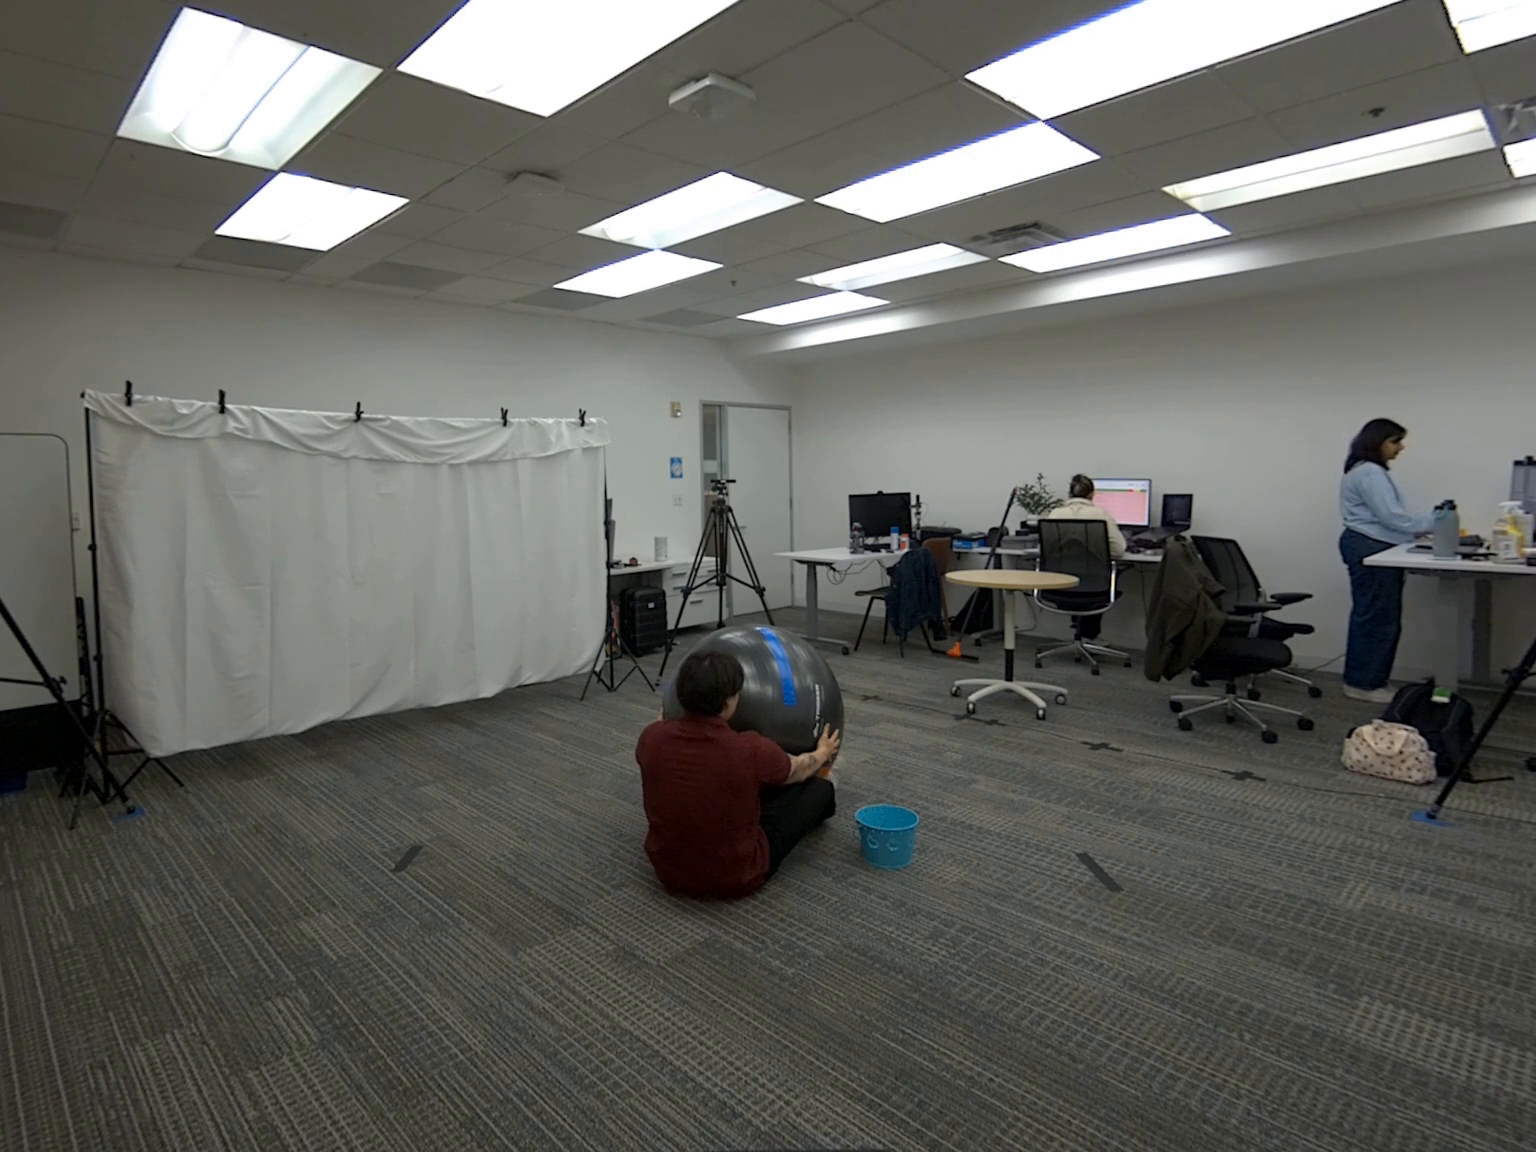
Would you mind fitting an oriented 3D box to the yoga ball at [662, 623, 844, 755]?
[{"bbox_3d":[-0.065,0.574,3.552,0.757,0.755,0.762,-1,5,-2],"label":"yoga ball"}]
